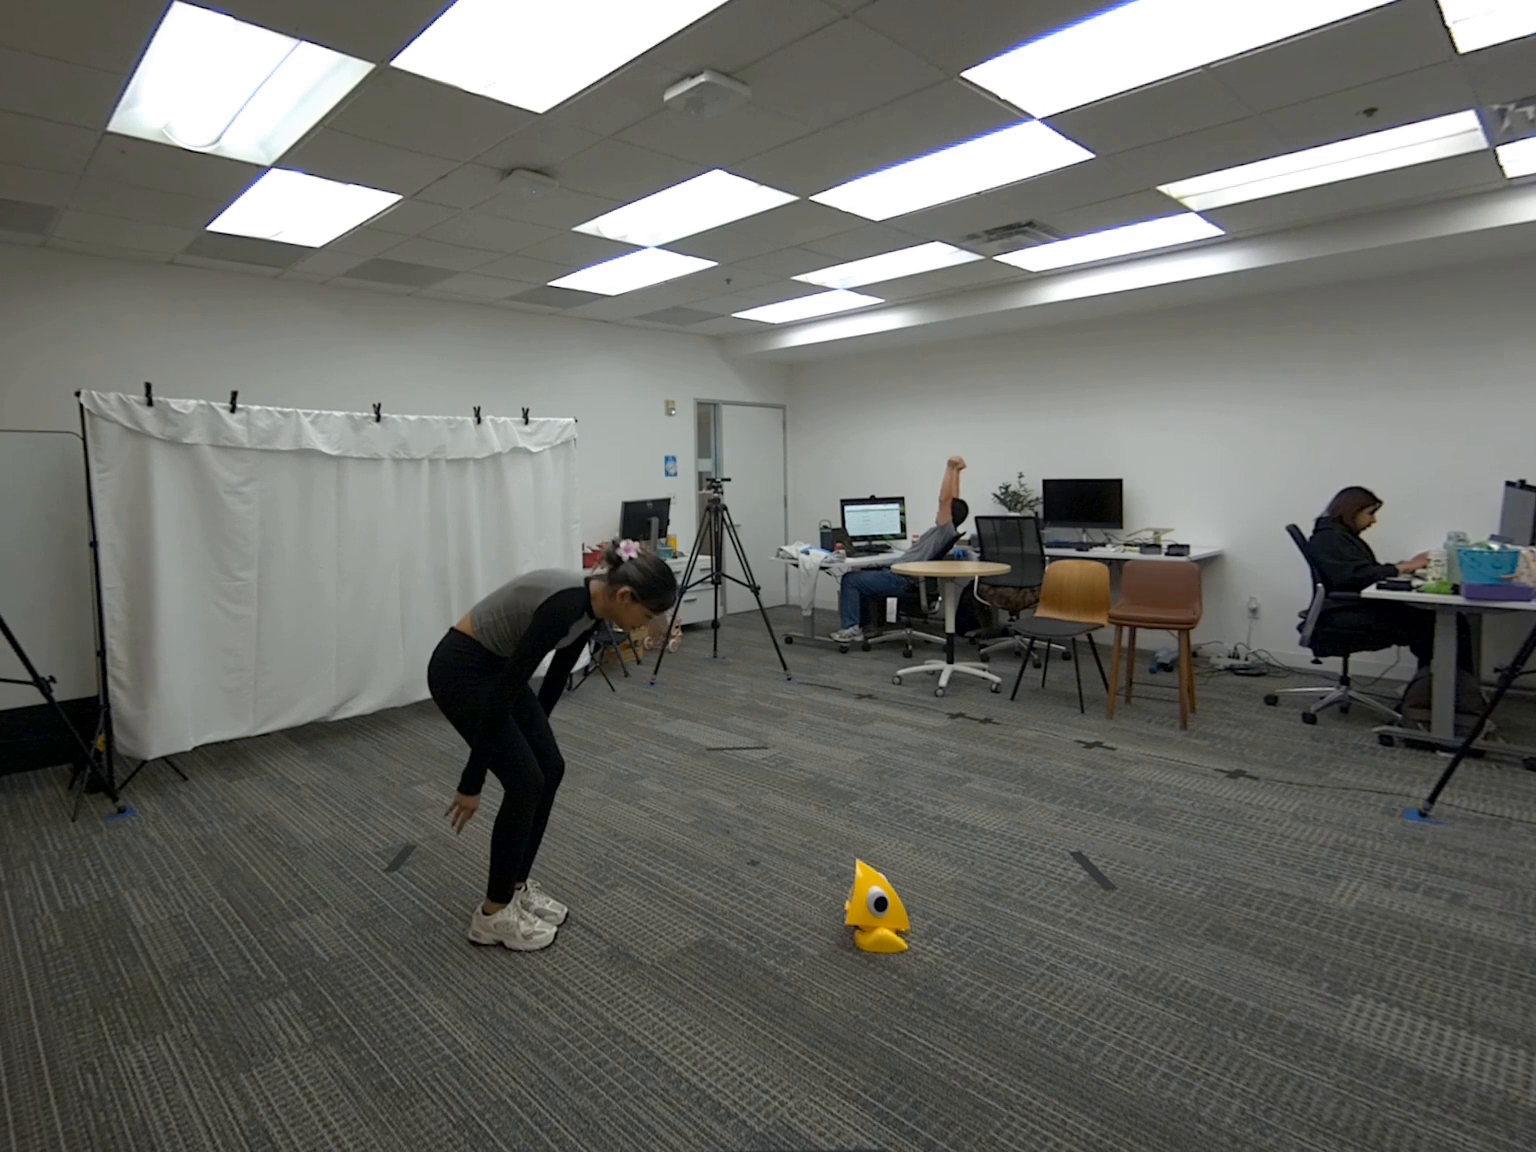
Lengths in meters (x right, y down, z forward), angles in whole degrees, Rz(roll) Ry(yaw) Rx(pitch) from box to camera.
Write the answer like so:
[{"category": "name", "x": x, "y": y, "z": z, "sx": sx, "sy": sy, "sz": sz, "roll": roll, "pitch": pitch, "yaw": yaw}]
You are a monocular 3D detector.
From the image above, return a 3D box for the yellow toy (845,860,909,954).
[{"category": "yellow toy", "x": 0.340, "y": 0.982, "z": 2.601, "sx": 0.195, "sy": 0.230, "sz": 0.203, "roll": 0, "pitch": 5, "yaw": 10}]
